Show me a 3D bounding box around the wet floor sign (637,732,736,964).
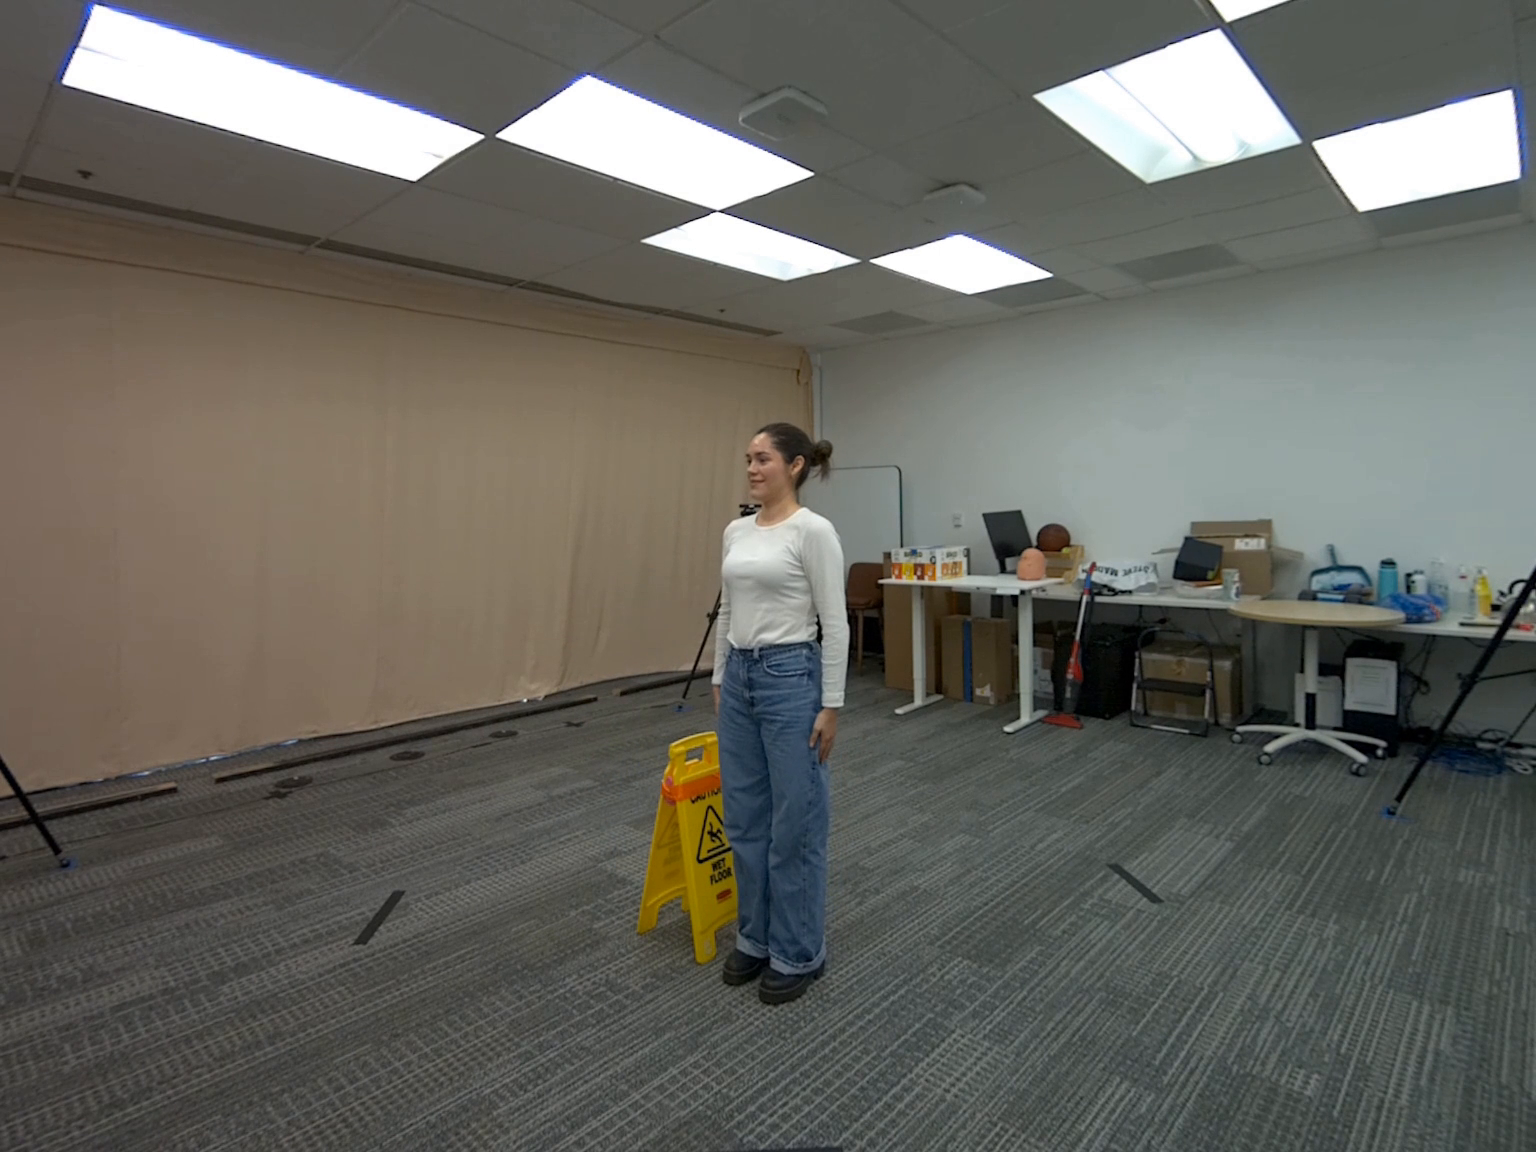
[{"bbox_3d":[-0.234,0.842,2.734,0.299,0.645,0.273,1,3,43],"label":"wet floor sign"}]
